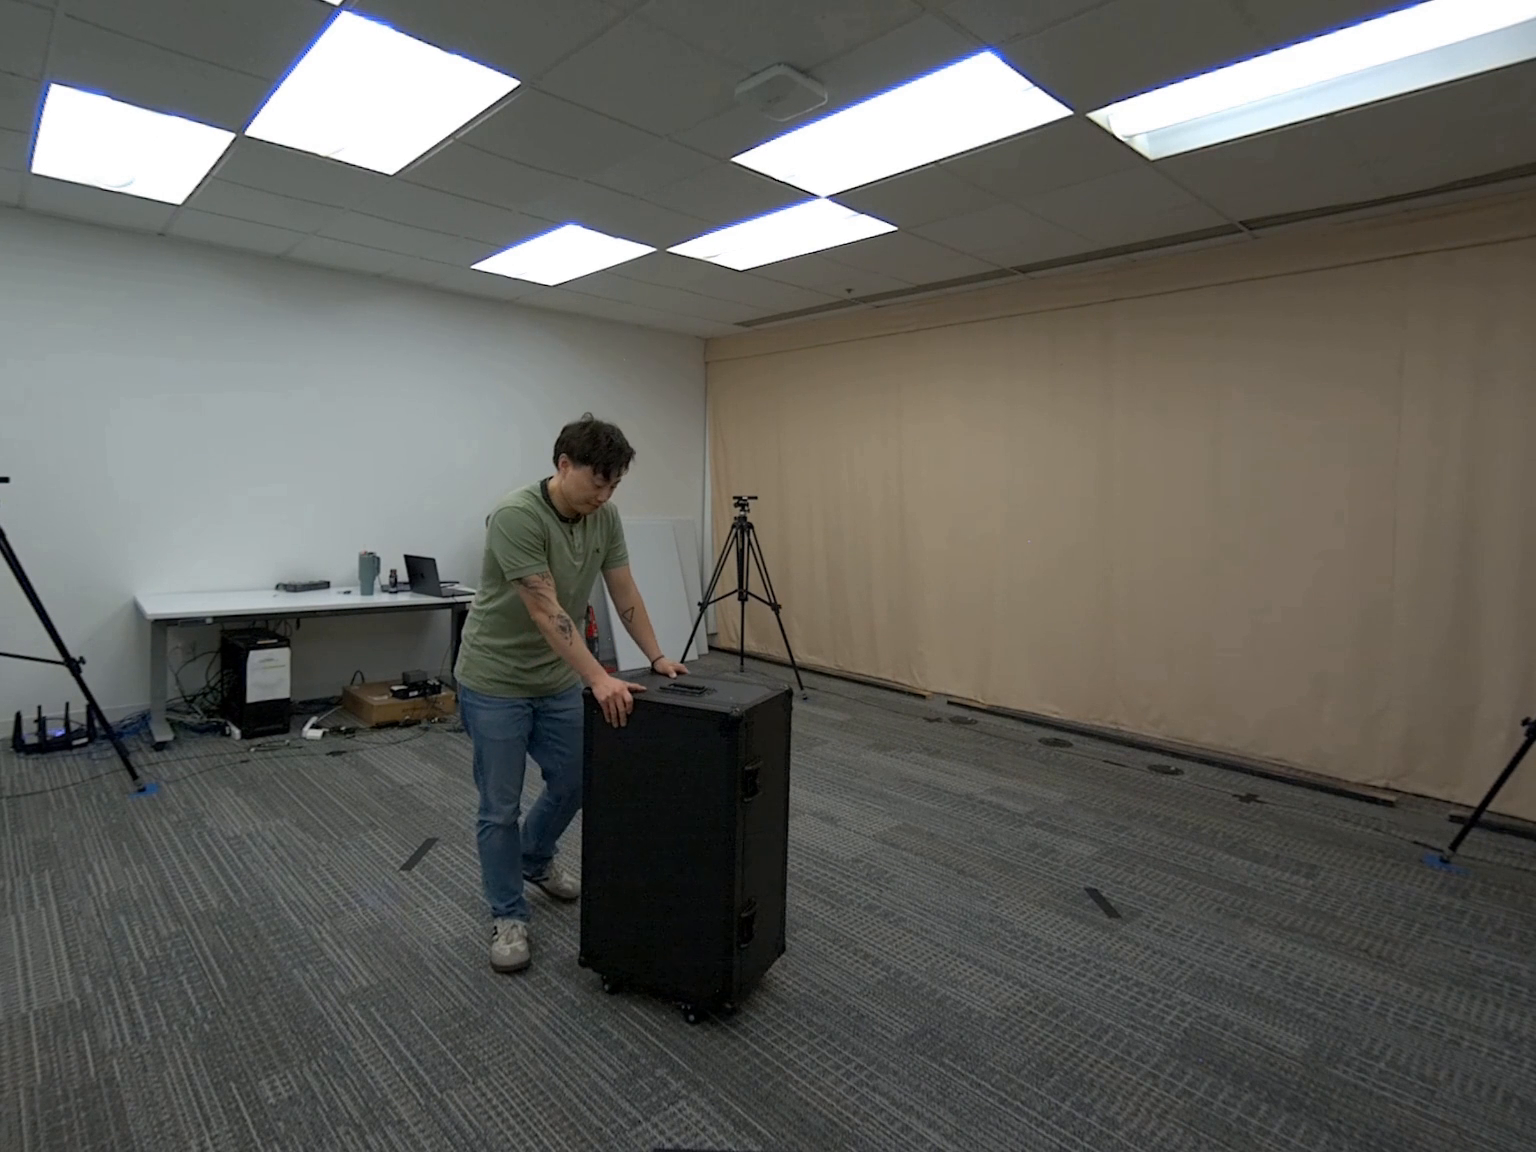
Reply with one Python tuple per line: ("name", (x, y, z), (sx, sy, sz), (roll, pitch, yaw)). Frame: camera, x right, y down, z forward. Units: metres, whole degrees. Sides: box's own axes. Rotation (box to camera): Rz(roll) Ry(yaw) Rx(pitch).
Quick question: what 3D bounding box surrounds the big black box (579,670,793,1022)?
("big black box", (-0.235, 0.744, 2.392), (0.531, 0.860, 0.389), (3, 3, 26))
